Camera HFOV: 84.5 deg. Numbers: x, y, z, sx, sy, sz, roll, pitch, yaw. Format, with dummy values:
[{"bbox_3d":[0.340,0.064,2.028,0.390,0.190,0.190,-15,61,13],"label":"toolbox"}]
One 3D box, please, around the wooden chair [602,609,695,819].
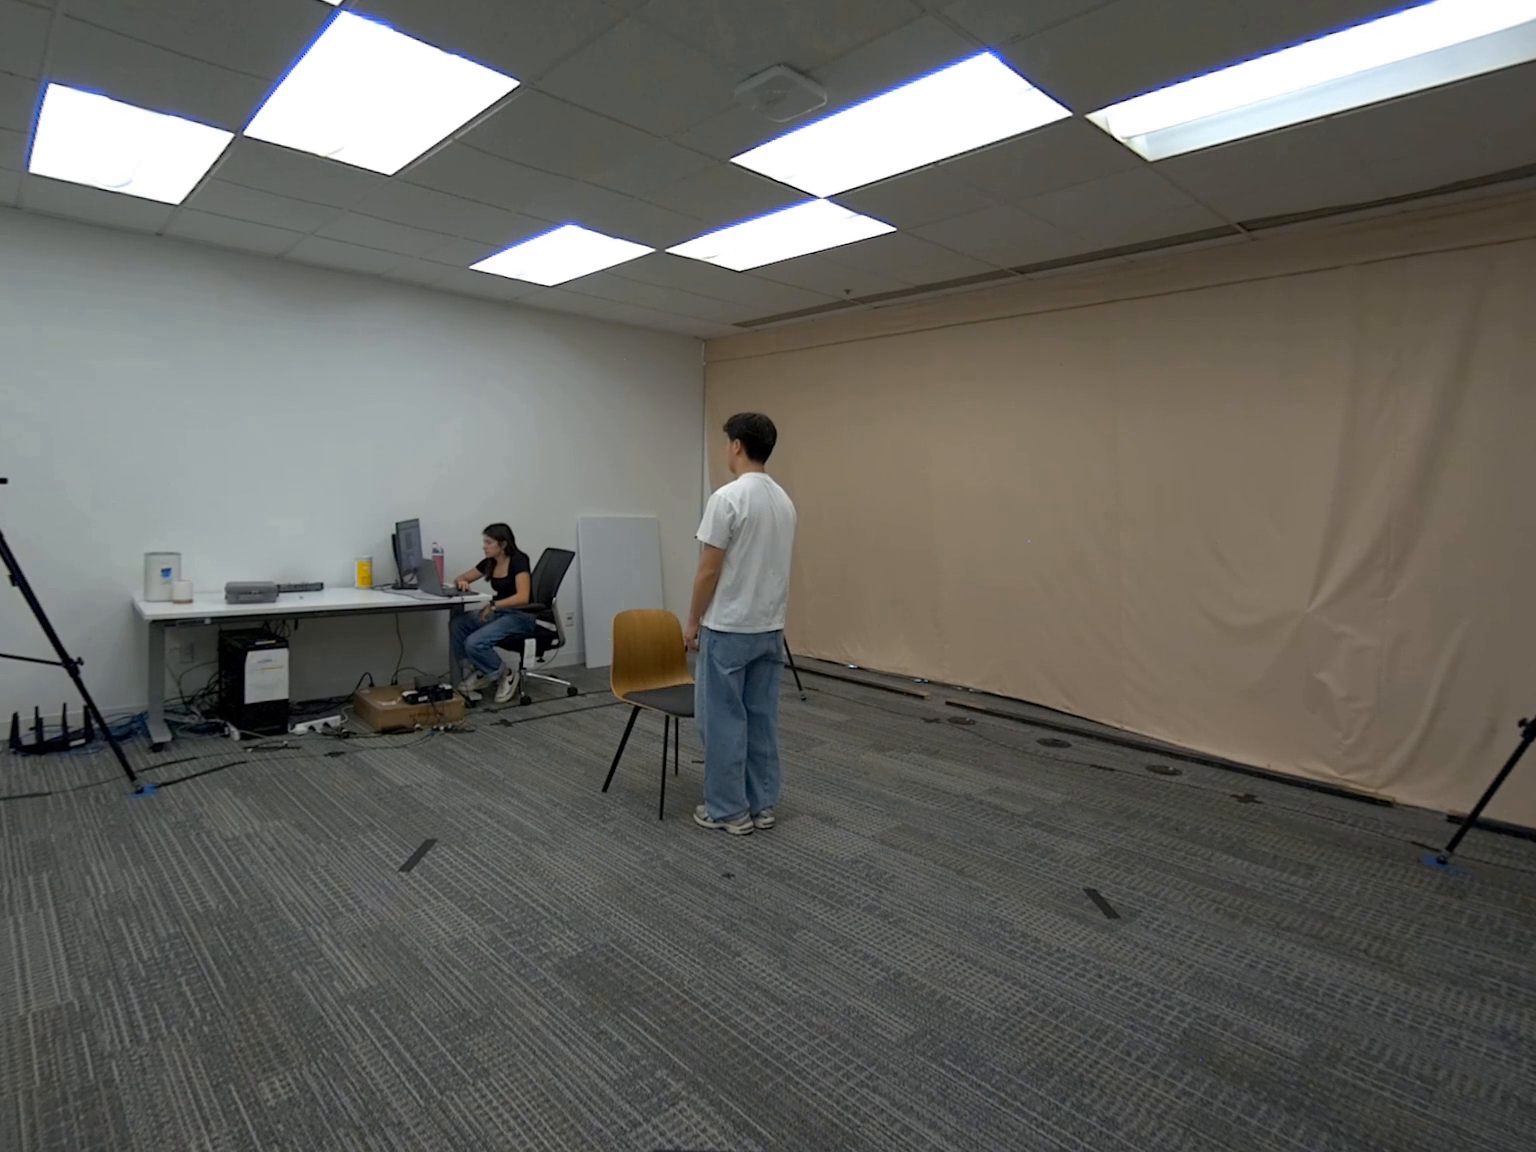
[{"bbox_3d":[-0.453,0.600,3.910,0.467,0.878,0.535,-1,0,-42],"label":"wooden chair"}]
